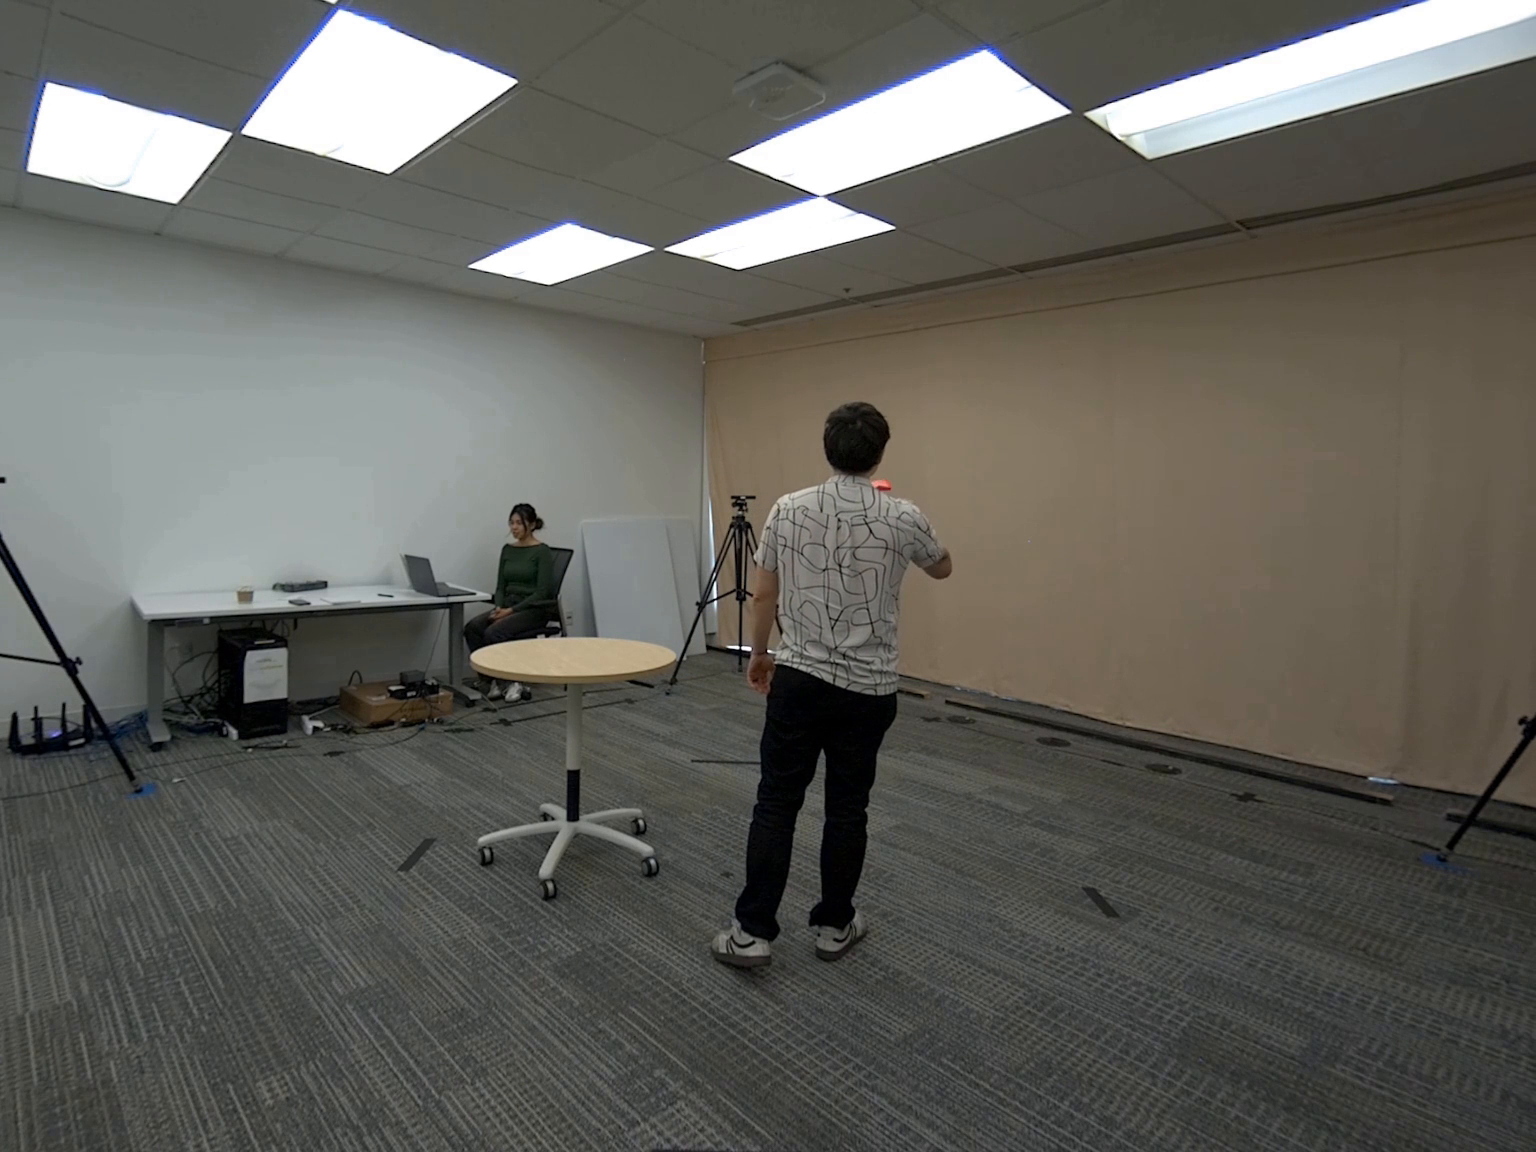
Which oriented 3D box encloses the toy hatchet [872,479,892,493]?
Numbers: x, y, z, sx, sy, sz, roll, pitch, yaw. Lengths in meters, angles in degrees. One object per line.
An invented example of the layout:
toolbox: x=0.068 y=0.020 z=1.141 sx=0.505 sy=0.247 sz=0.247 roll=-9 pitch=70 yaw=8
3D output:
toy hatchet: x=0.443 y=-0.285 z=3.010 sx=0.130 sy=0.029 sz=0.279 roll=-36 pitch=41 yaw=-23
